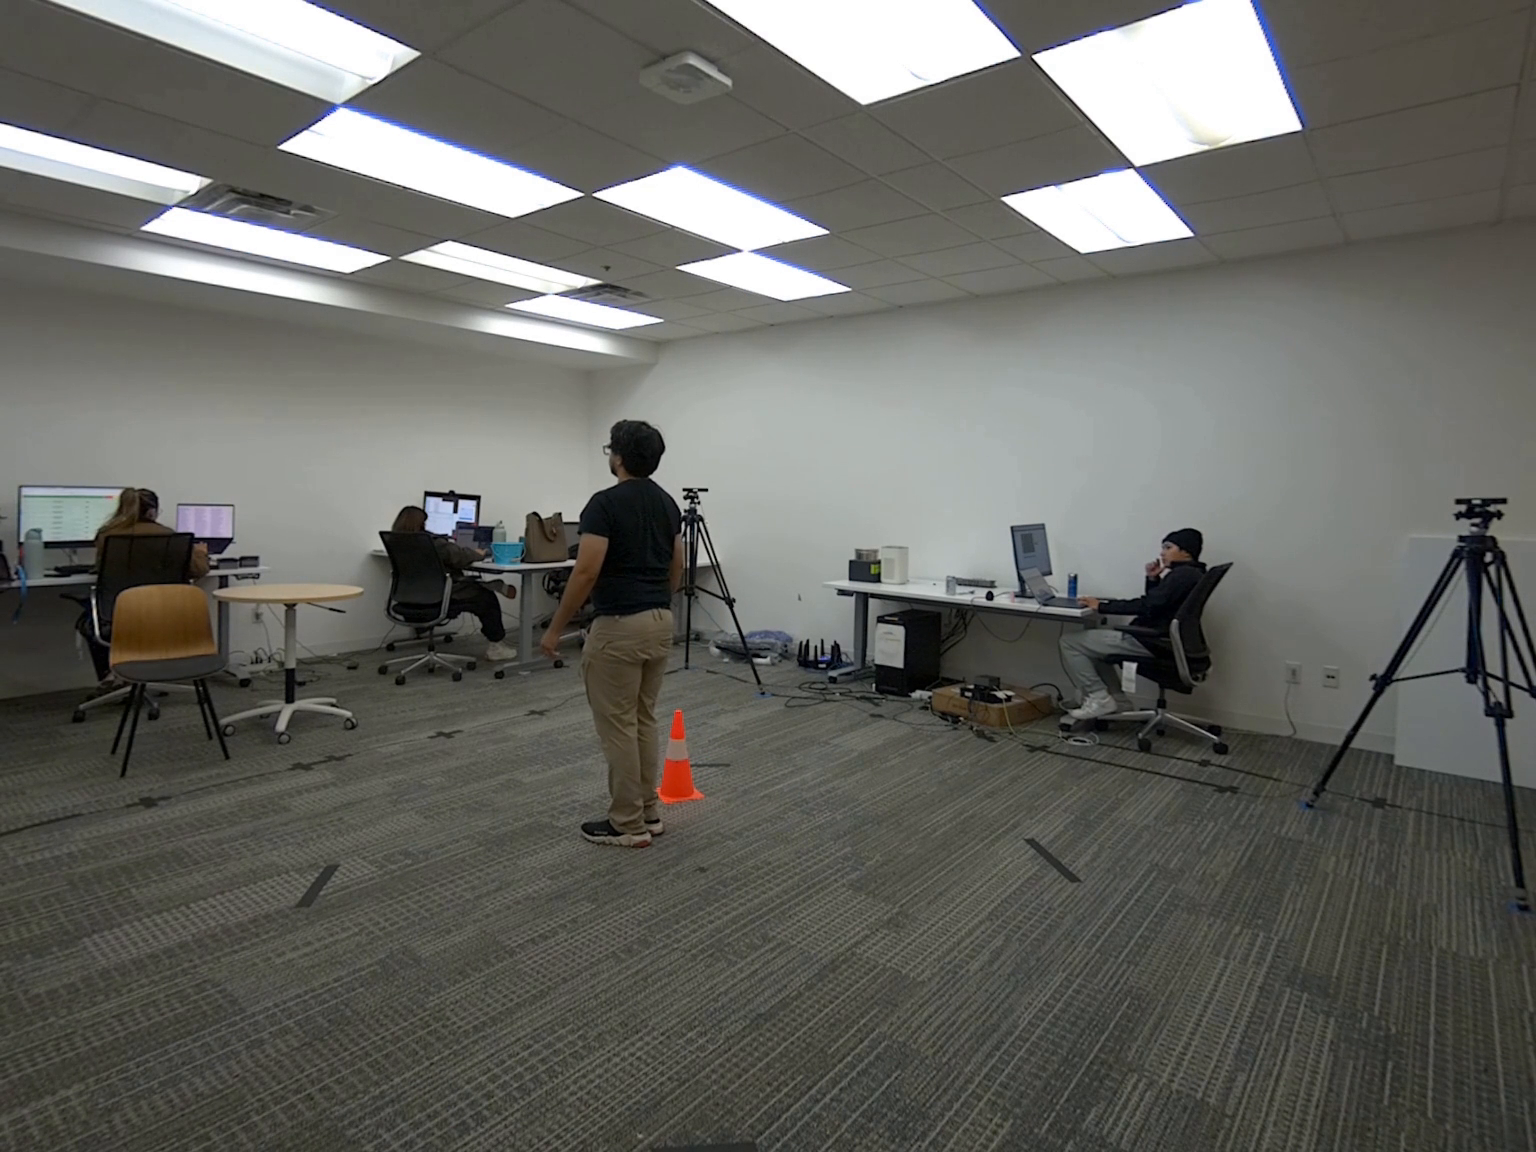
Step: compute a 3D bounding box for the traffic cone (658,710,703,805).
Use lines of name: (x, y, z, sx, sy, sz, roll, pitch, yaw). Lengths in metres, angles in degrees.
traffic cone: (-0.423, 0.807, 3.892, 0.200, 0.383, 0.209, 0, 3, -26)
